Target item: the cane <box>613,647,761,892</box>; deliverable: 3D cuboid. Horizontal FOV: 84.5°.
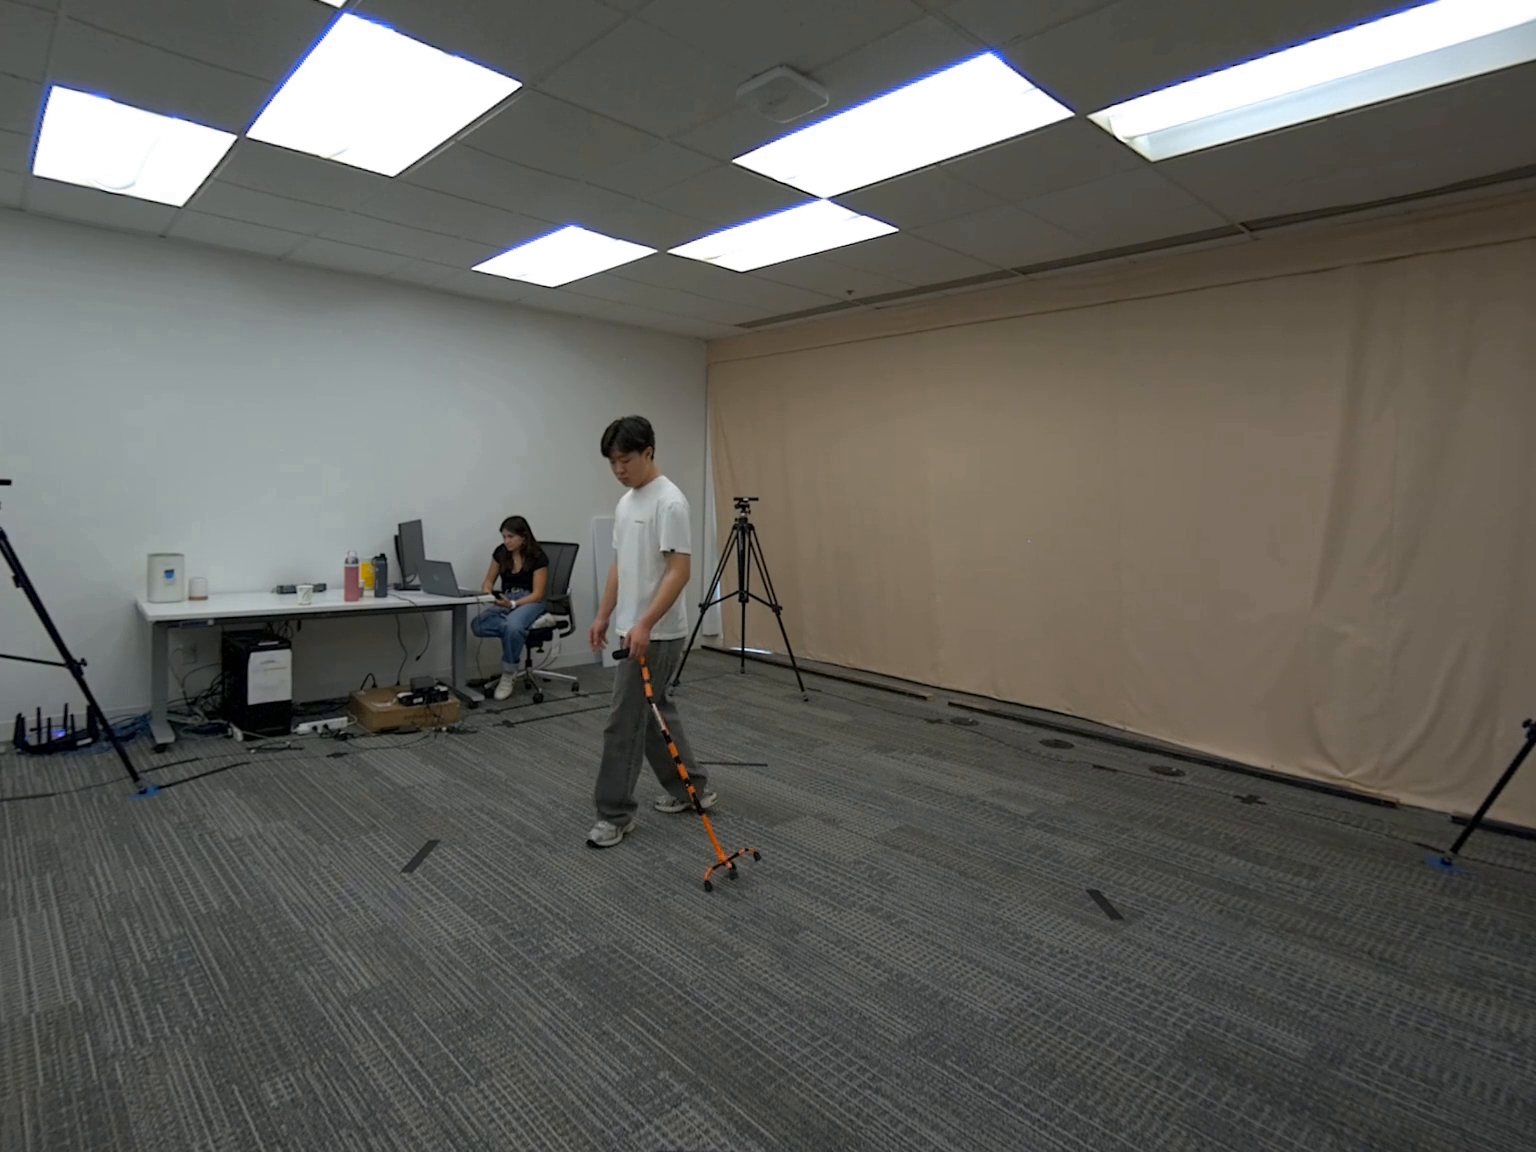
[{"bbox_3d":[-0.322,0.685,3.120,0.152,0.918,0.203,-33,-13,28],"label":"cane"}]
